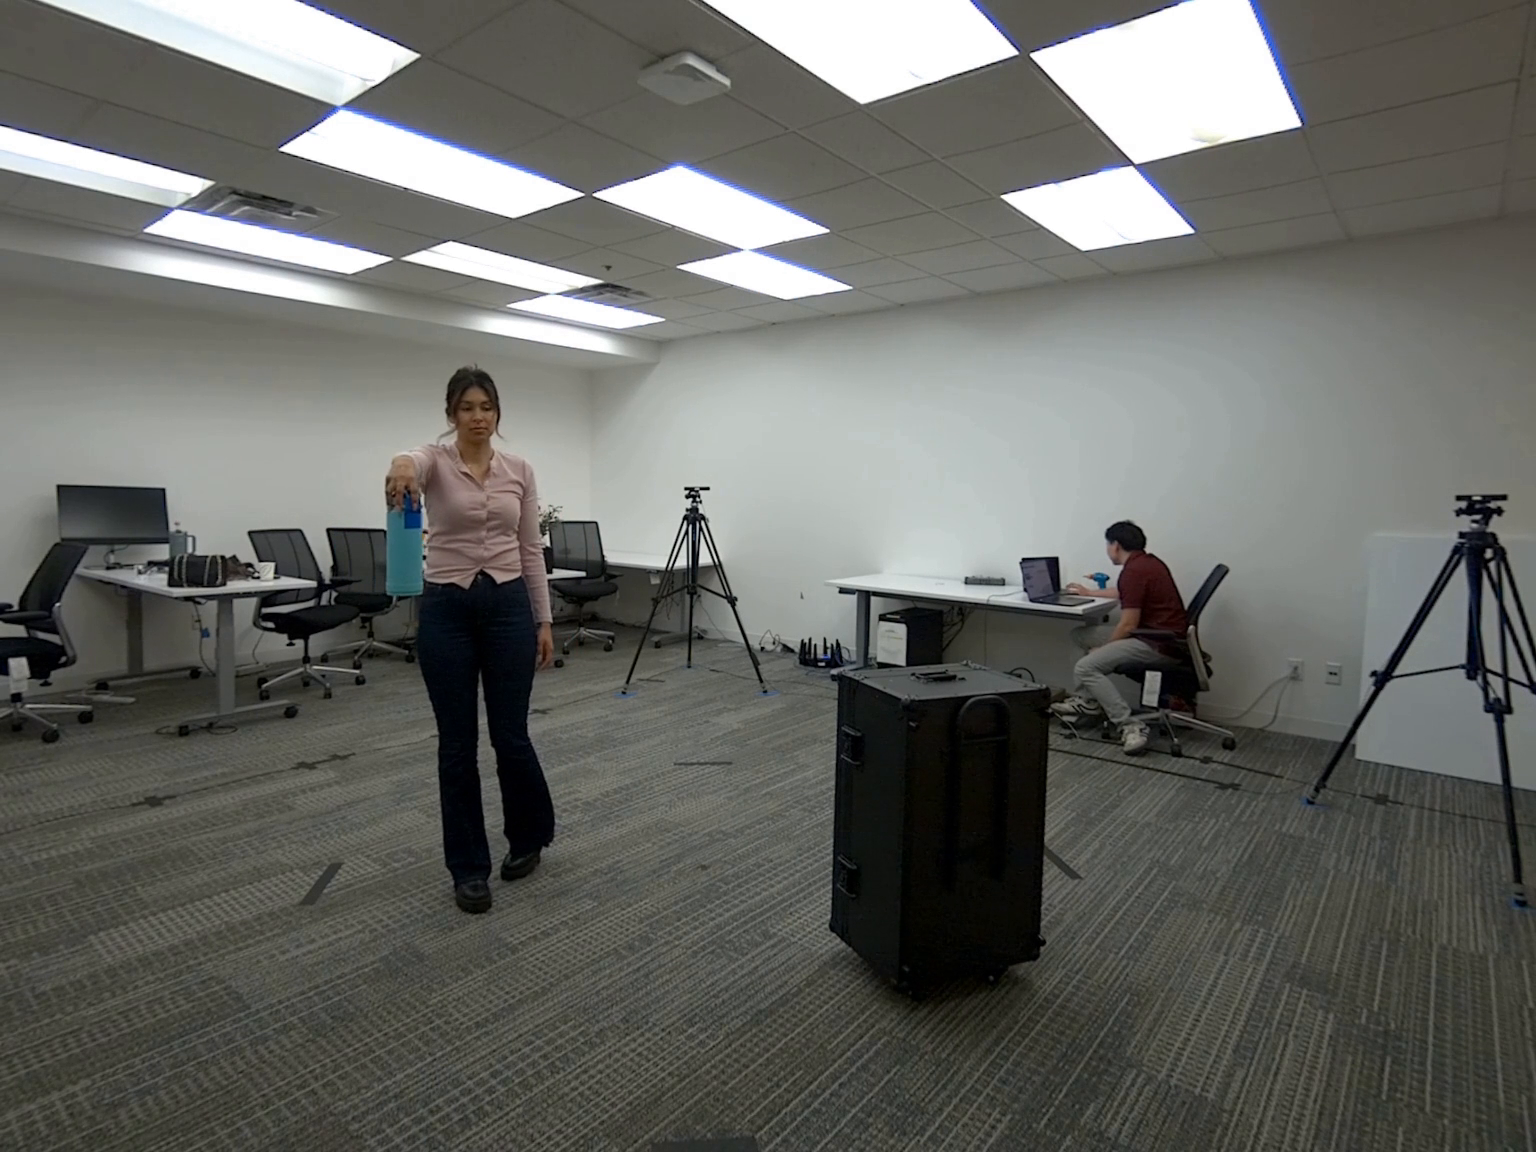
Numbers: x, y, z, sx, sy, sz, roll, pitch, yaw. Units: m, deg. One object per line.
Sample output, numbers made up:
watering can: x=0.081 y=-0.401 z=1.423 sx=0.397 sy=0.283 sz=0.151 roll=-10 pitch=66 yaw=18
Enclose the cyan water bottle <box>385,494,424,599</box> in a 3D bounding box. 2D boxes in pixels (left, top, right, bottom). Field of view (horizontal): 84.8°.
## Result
cyan water bottle: x=-0.959 y=-0.094 z=2.220 sx=0.092 sy=0.282 sz=0.093 roll=1 pitch=3 yaw=-2
